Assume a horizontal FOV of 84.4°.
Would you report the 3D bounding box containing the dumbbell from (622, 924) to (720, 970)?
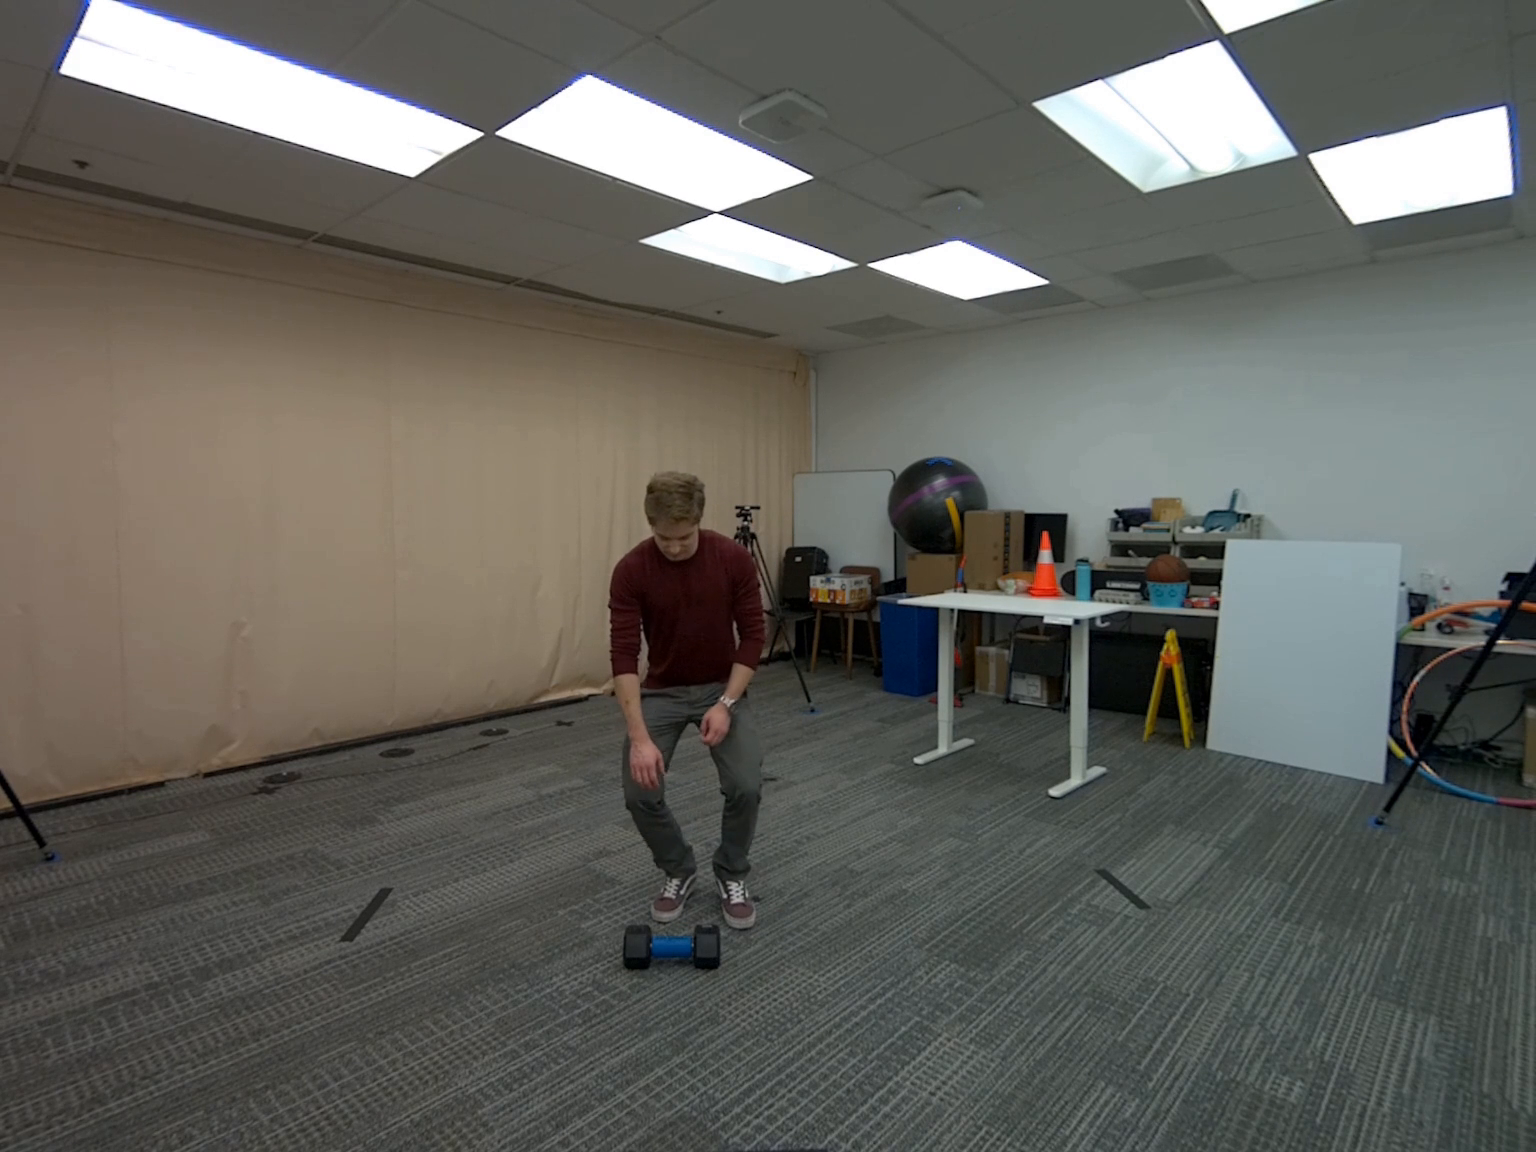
[{"bbox_3d":[-0.289,1.124,2.561,0.293,0.125,0.107,0,-26,0],"label":"dumbbell"}]
